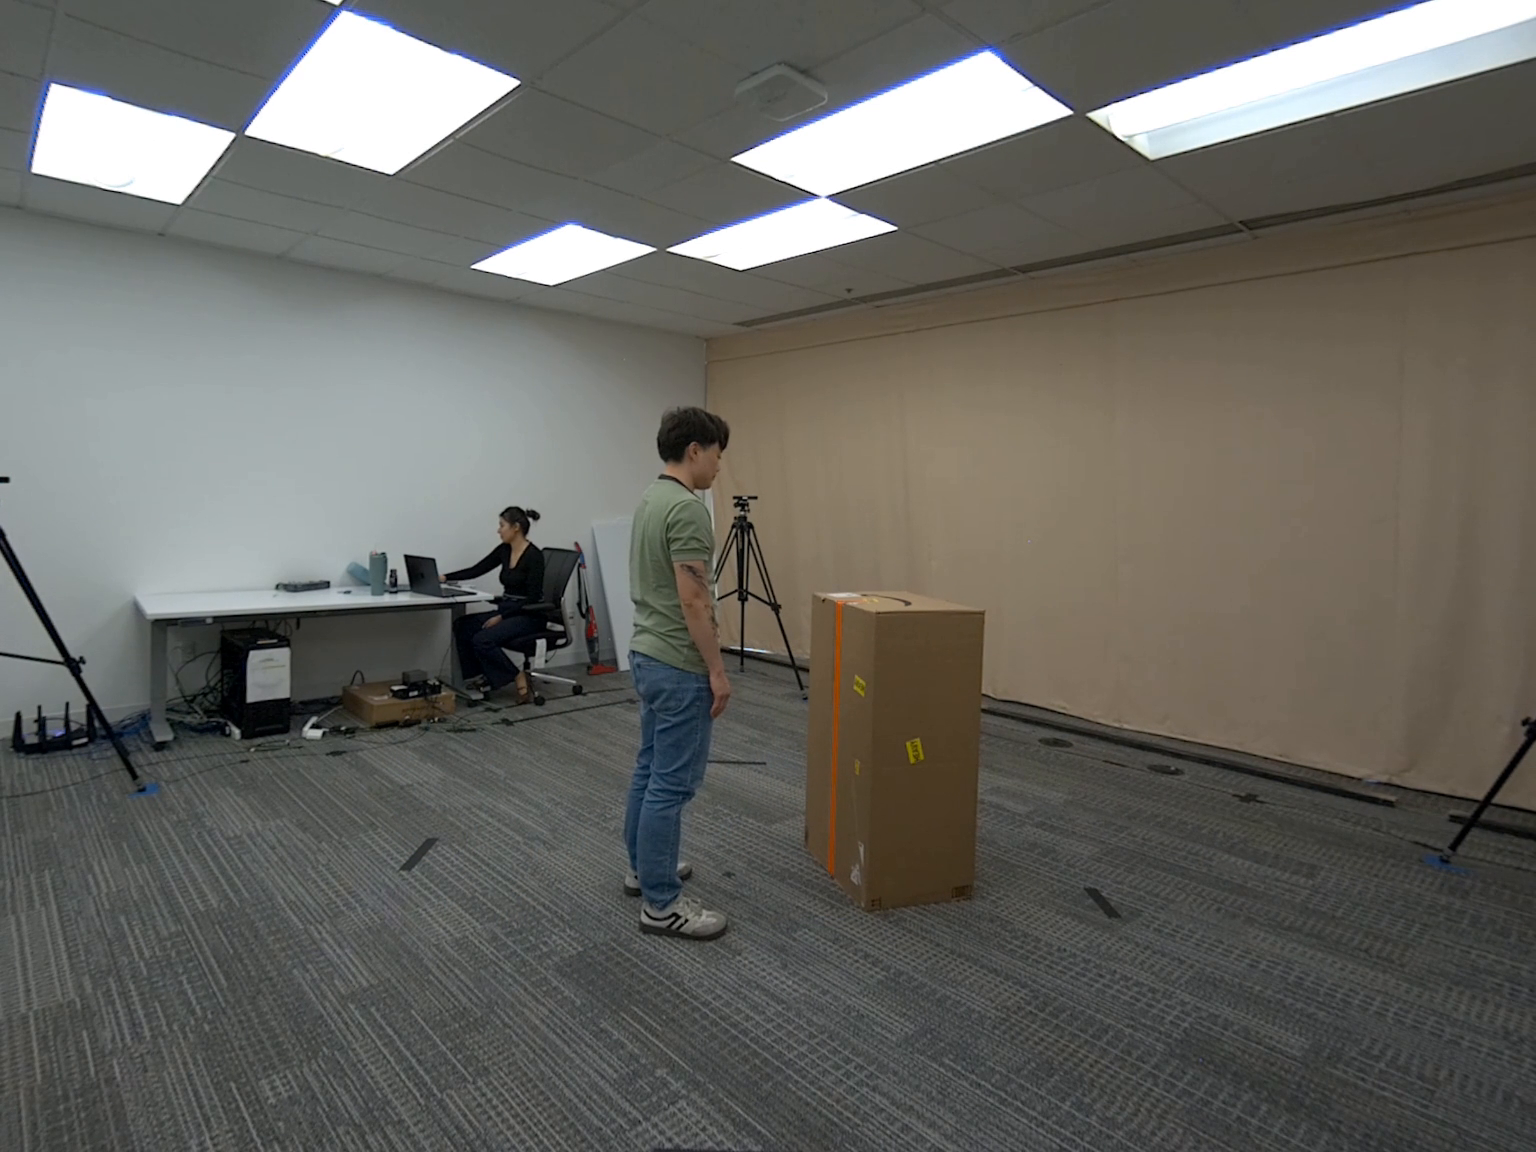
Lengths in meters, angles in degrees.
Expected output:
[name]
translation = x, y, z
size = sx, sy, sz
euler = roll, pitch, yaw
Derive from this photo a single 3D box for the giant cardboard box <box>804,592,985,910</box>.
[giant cardboard box]
translation = 0.442, 0.602, 3.153
size = 0.420, 1.023, 0.587
euler = 1, 4, -19
